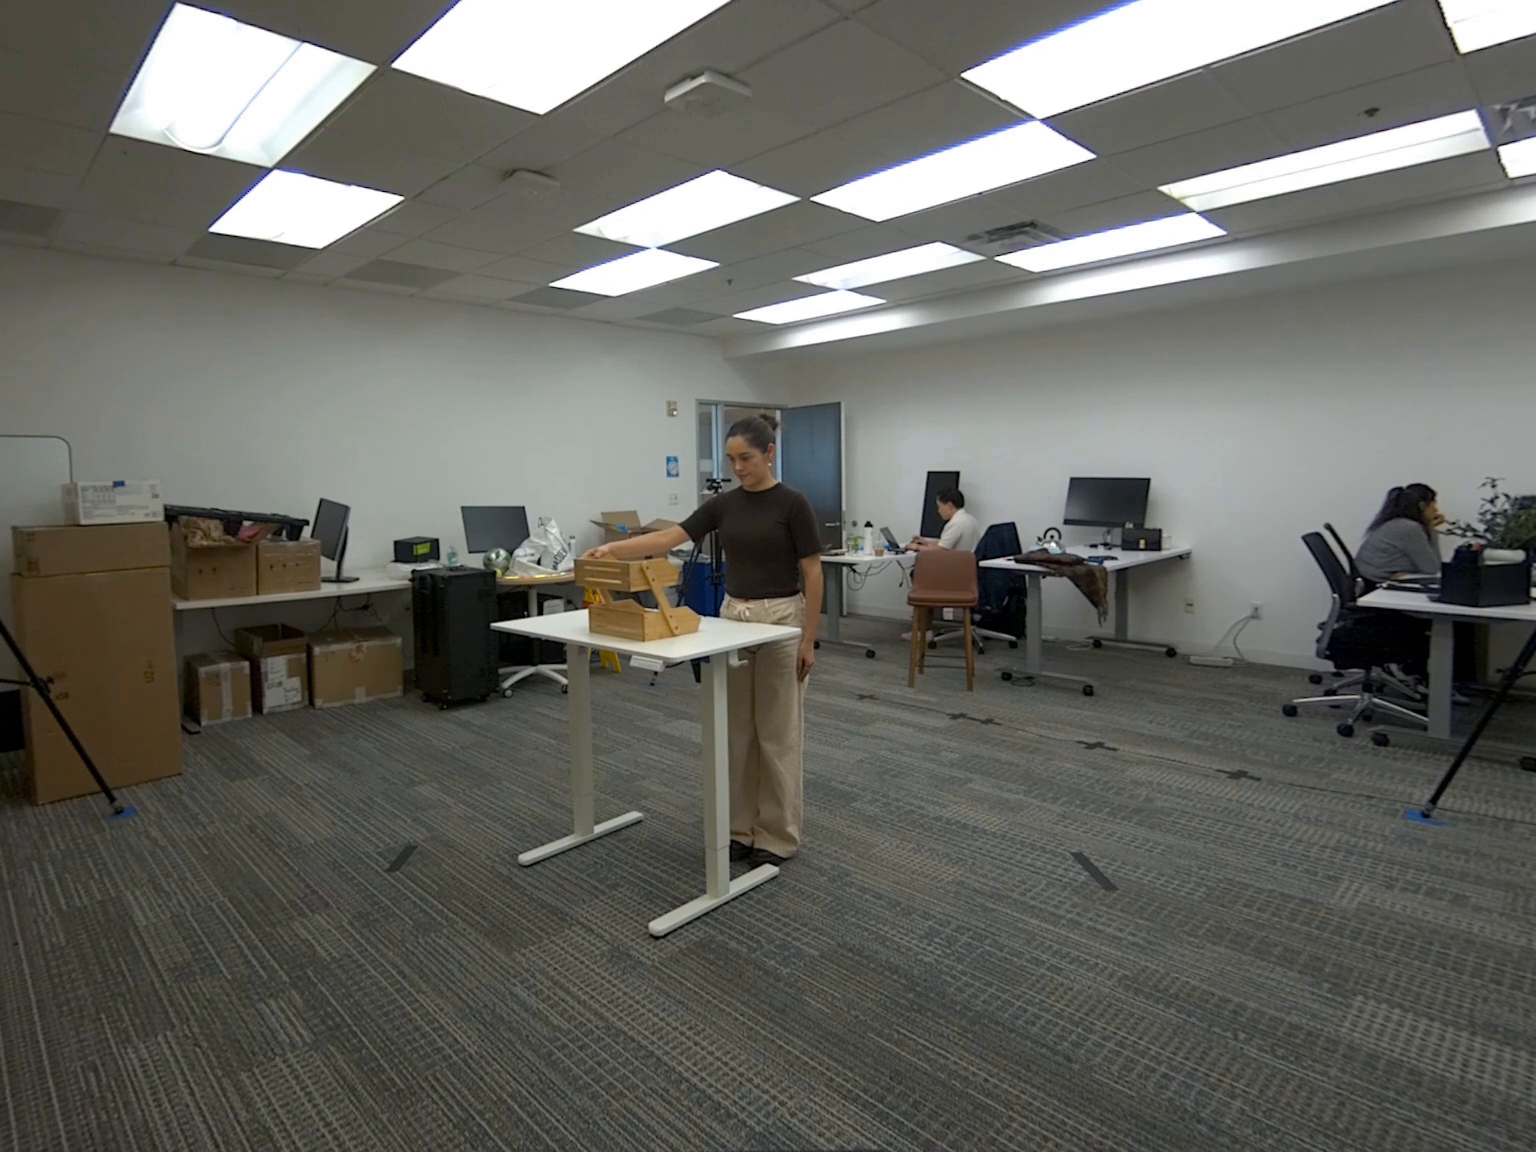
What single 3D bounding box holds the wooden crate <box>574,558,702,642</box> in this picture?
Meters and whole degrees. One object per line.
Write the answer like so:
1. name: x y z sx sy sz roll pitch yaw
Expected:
1. wooden crate: -0.438 0.062 2.886 0.334 0.272 0.294 3 8 44
